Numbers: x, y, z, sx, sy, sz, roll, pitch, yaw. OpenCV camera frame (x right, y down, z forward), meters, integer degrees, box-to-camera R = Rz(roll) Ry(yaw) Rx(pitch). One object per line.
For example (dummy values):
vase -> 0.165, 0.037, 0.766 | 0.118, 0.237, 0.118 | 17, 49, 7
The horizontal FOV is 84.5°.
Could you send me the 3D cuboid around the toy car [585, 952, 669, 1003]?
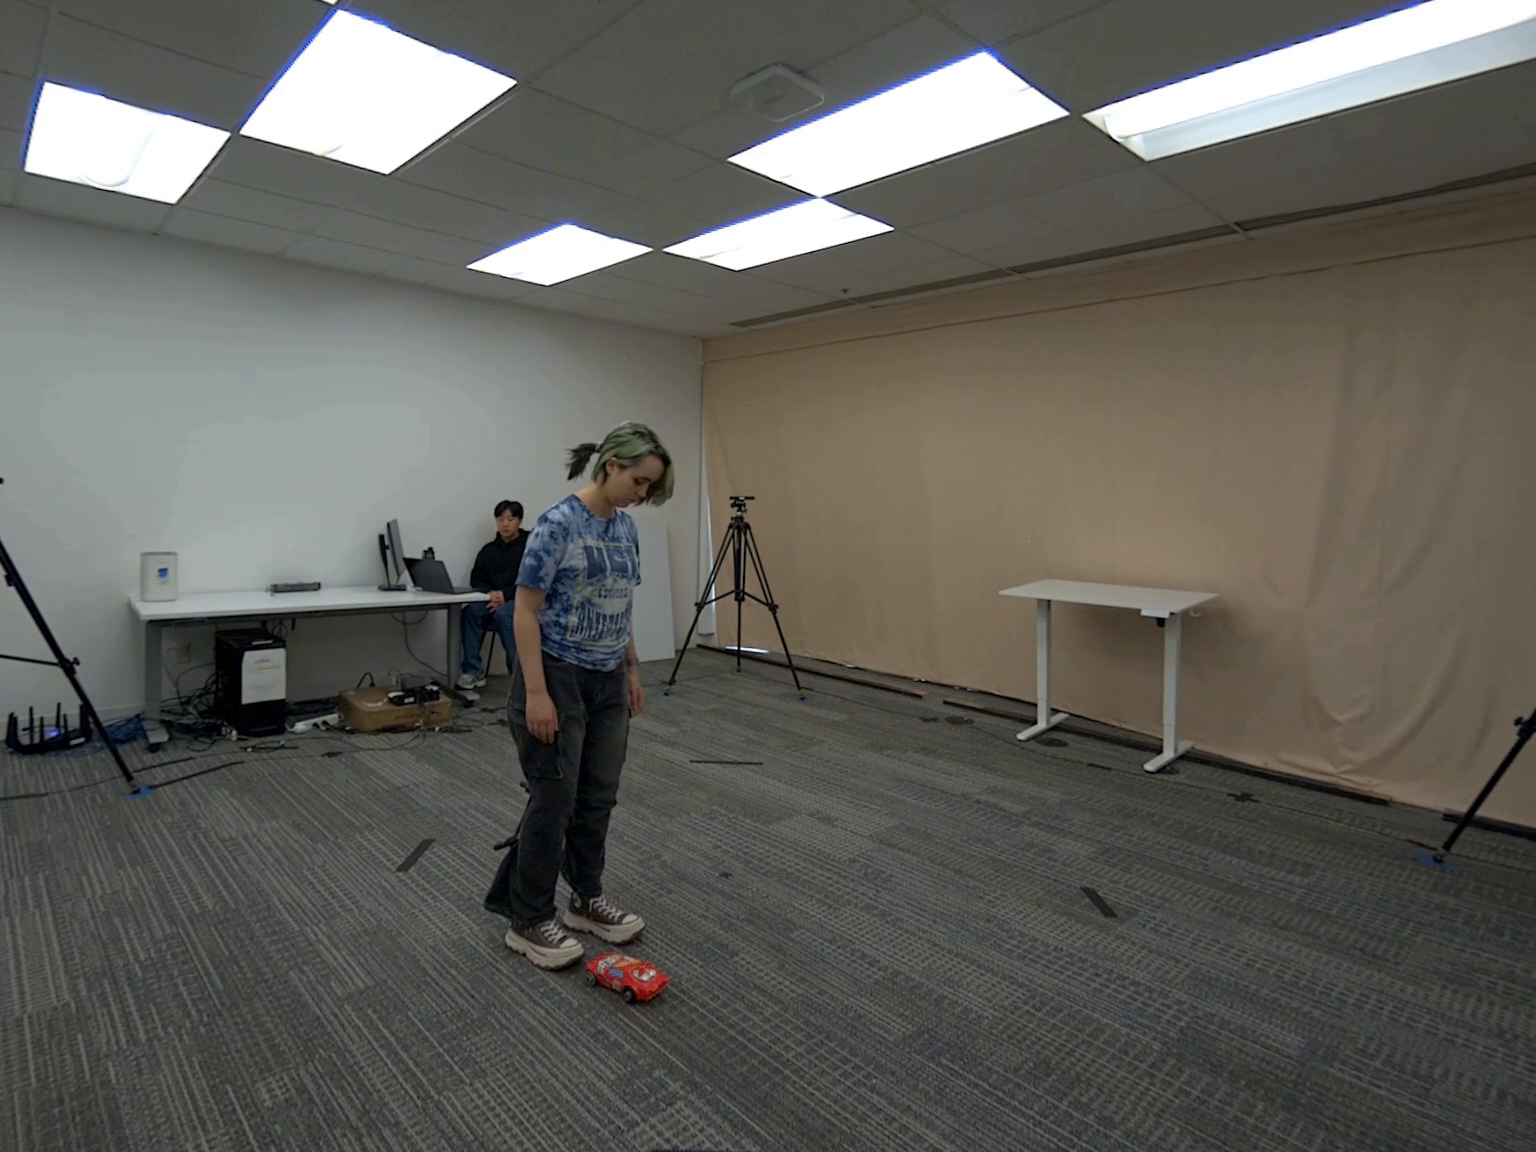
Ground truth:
toy car -> -0.397, 1.137, 2.367 | 0.259, 0.083, 0.127 | -9, -2, 36
